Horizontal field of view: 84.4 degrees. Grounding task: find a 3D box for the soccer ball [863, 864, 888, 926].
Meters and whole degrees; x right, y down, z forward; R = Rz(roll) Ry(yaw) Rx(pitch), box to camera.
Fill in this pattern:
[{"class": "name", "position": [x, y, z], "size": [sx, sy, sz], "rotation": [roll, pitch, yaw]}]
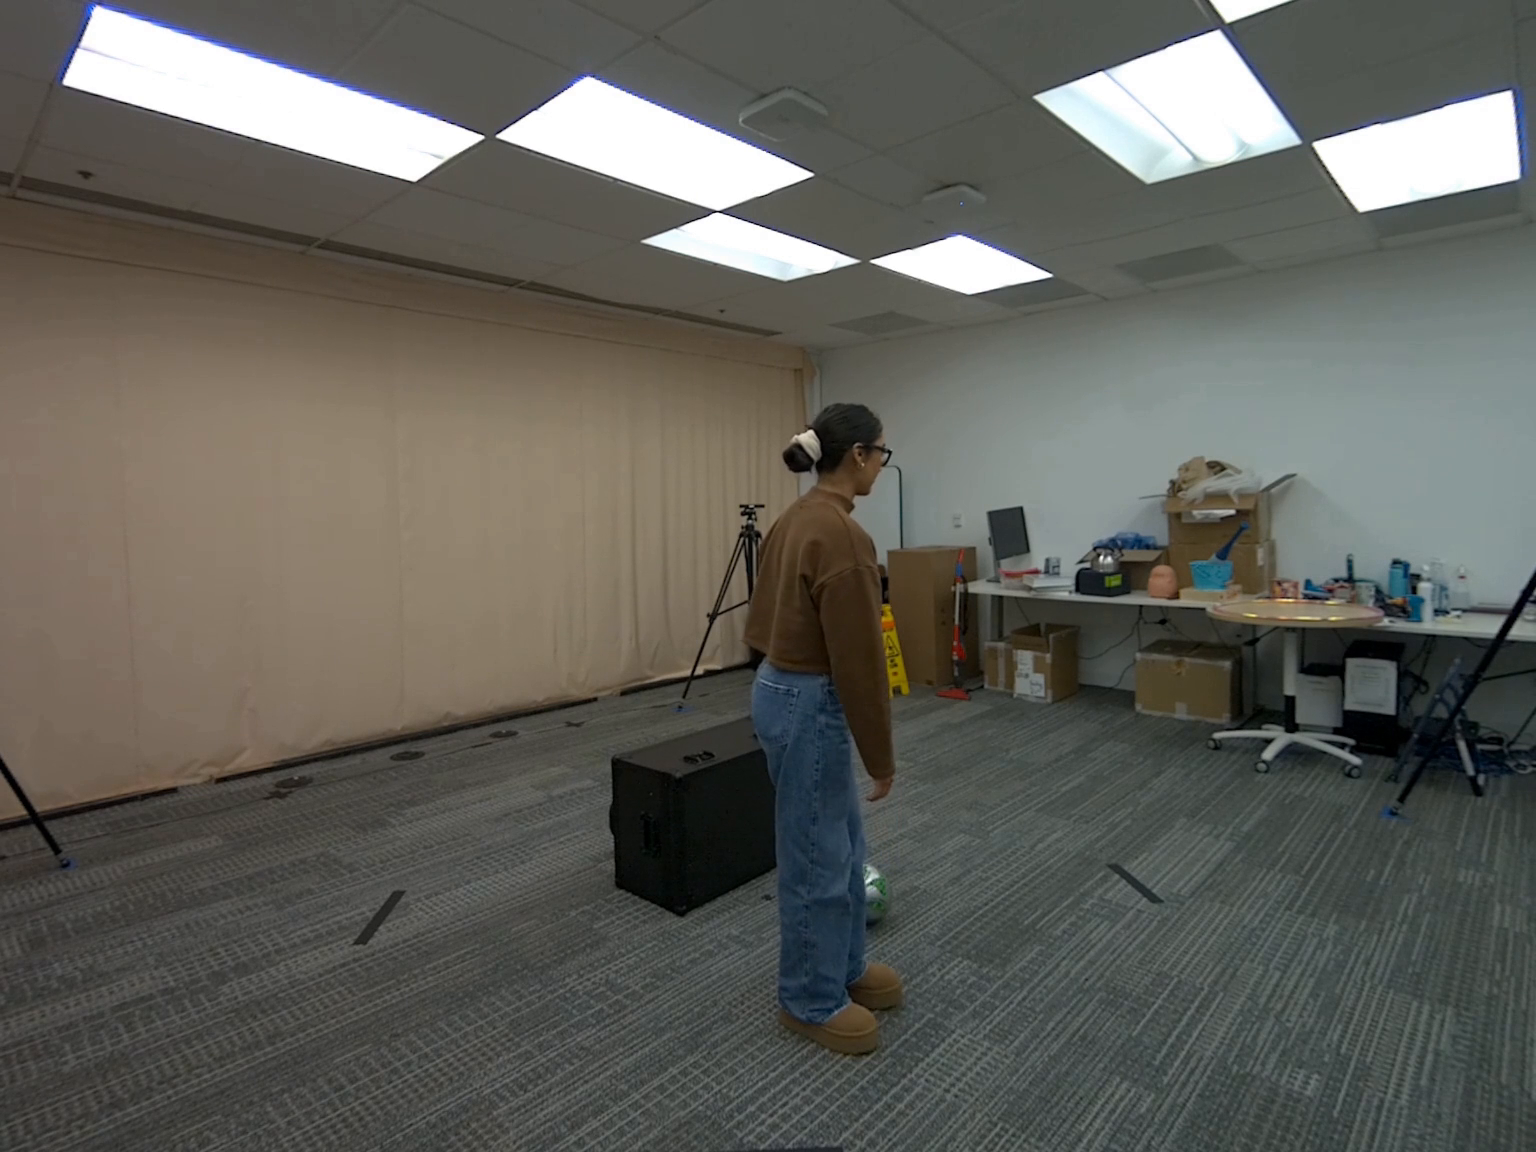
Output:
[{"class": "soccer ball", "position": [0.332, 1.055, 2.798], "size": [0.187, 0.187, 0.188], "rotation": [-1, 4, -2]}]
